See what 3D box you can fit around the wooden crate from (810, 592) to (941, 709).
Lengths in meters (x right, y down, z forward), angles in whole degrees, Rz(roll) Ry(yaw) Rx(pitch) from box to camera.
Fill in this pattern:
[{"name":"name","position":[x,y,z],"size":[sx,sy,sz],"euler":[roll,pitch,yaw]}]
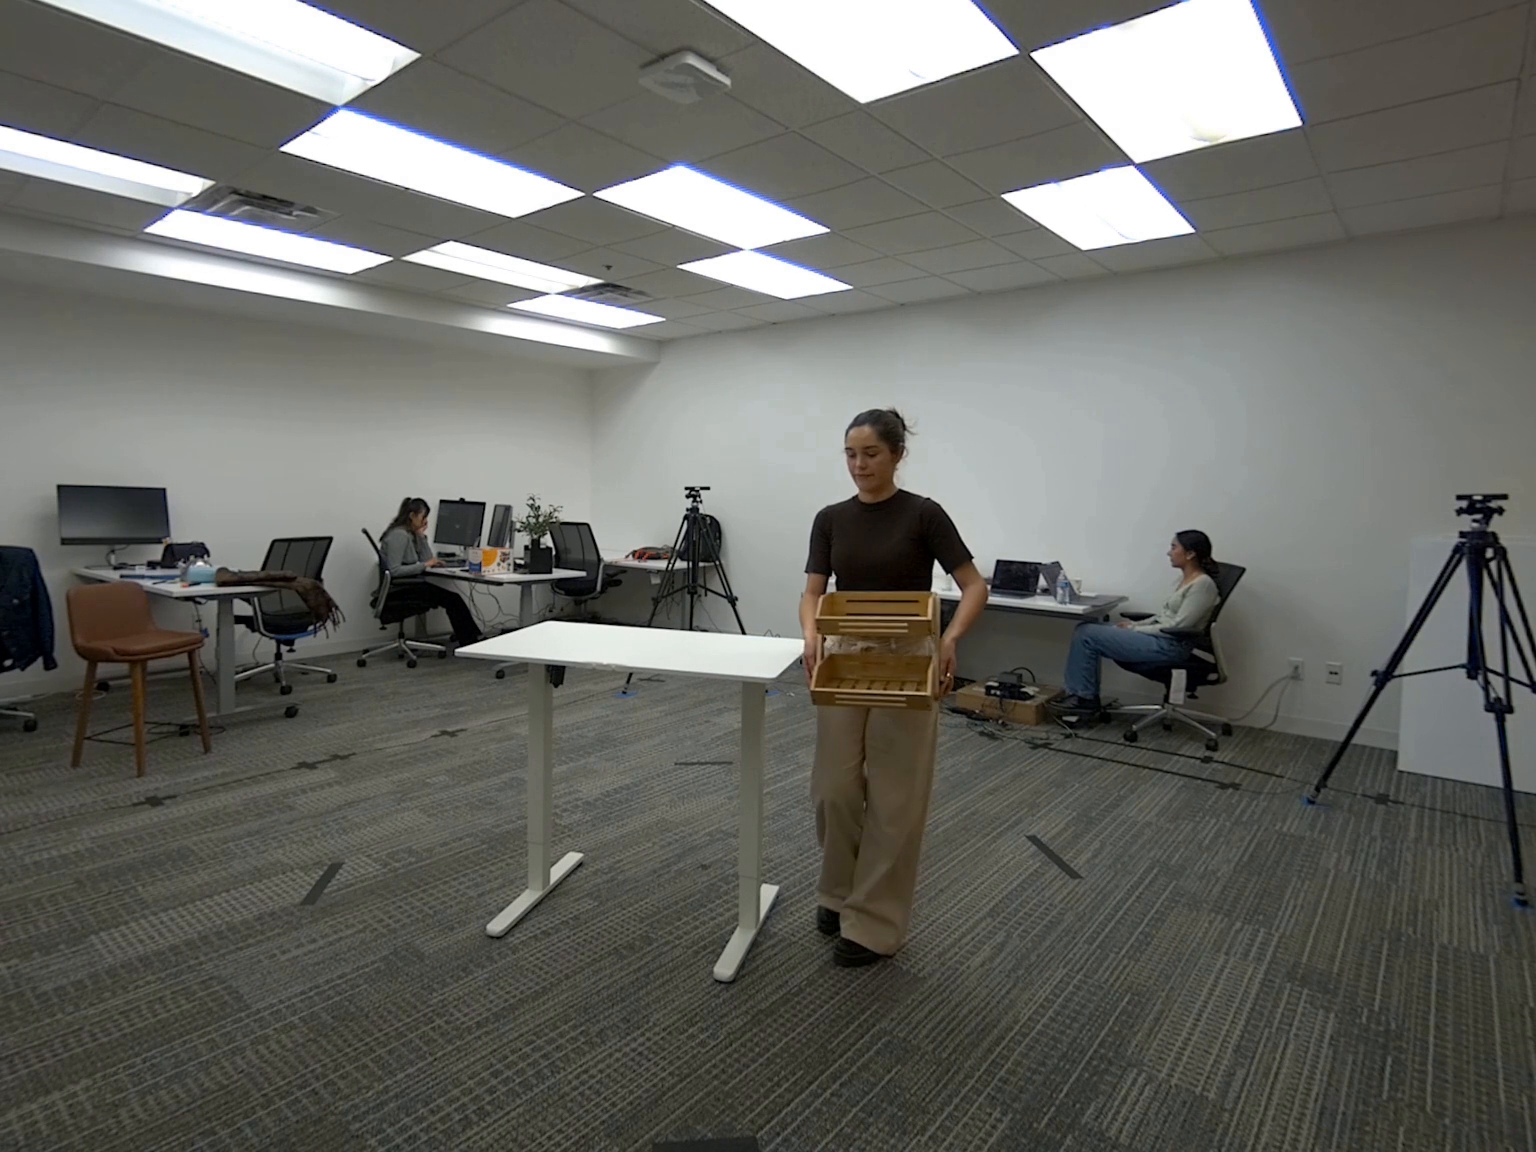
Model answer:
[{"name":"wooden crate","position":[0.289,0.183,2.269],"size":[0.330,0.272,0.298],"euler":[-1,5,17]}]
